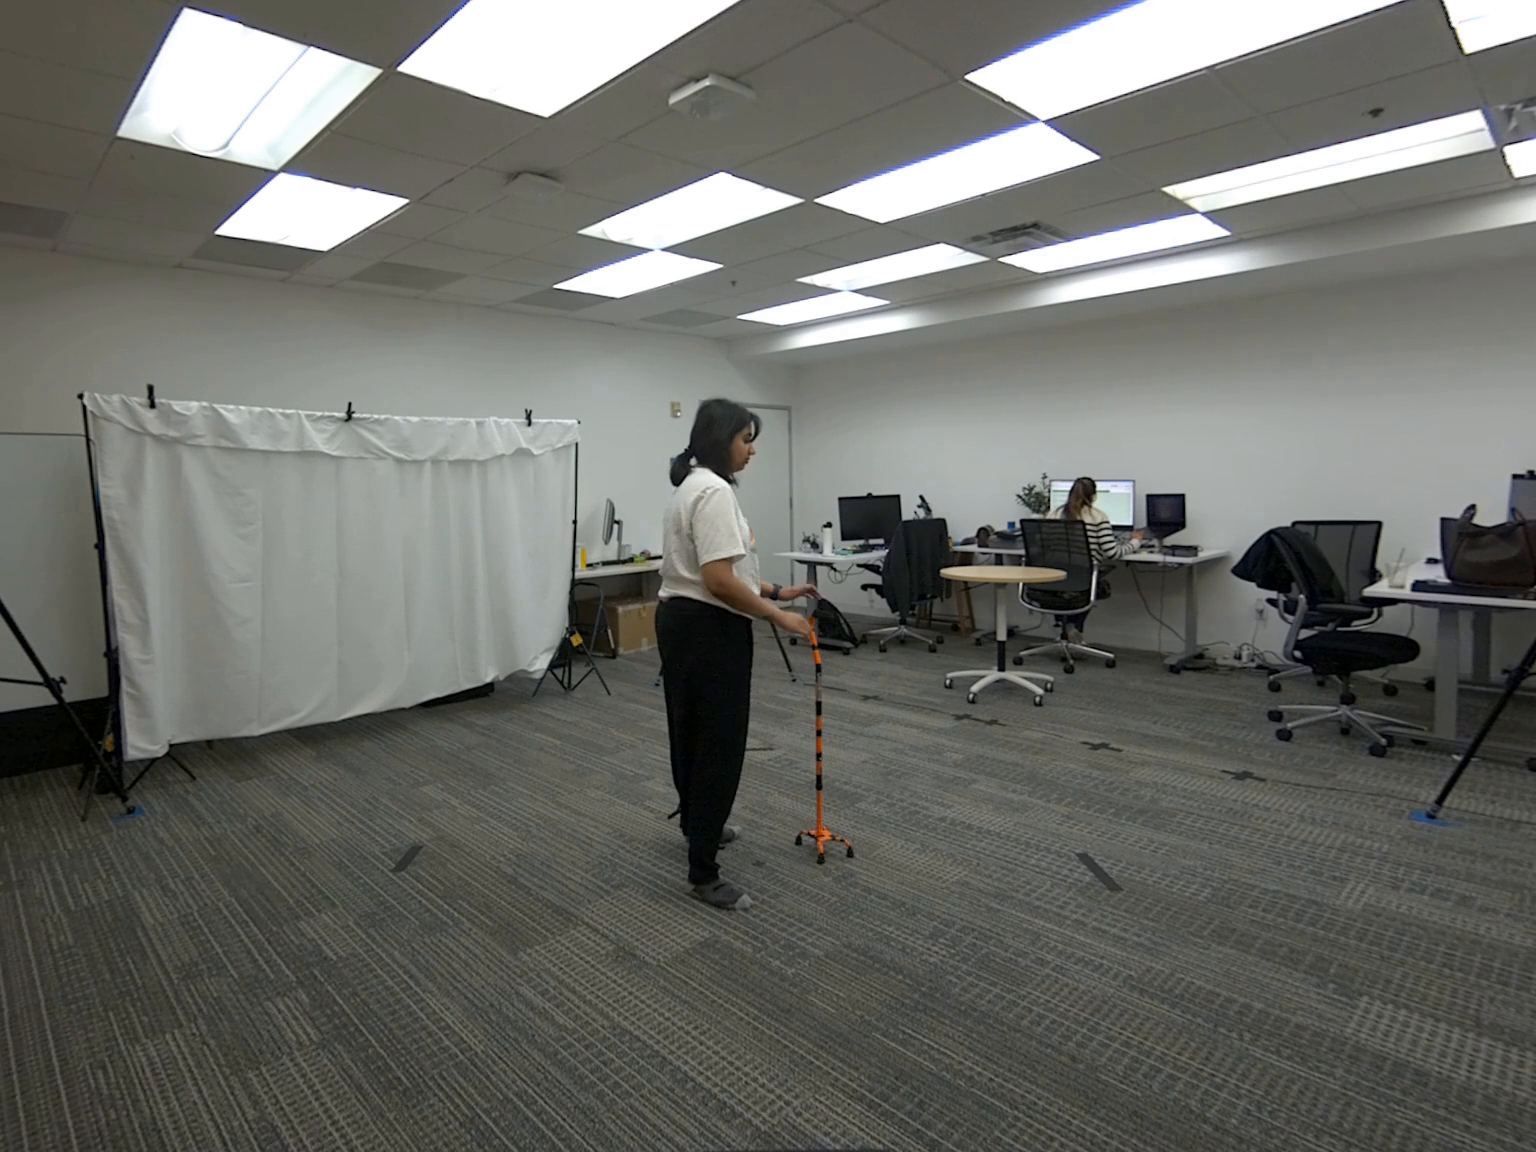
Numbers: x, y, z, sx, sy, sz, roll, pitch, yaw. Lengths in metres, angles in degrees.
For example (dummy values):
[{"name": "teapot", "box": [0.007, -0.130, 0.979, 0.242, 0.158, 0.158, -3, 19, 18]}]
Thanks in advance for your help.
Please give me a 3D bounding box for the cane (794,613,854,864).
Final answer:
[{"name": "cane", "box": [0.203, 0.577, 3.187, 0.148, 0.905, 0.211, -2, 4, -24]}]
